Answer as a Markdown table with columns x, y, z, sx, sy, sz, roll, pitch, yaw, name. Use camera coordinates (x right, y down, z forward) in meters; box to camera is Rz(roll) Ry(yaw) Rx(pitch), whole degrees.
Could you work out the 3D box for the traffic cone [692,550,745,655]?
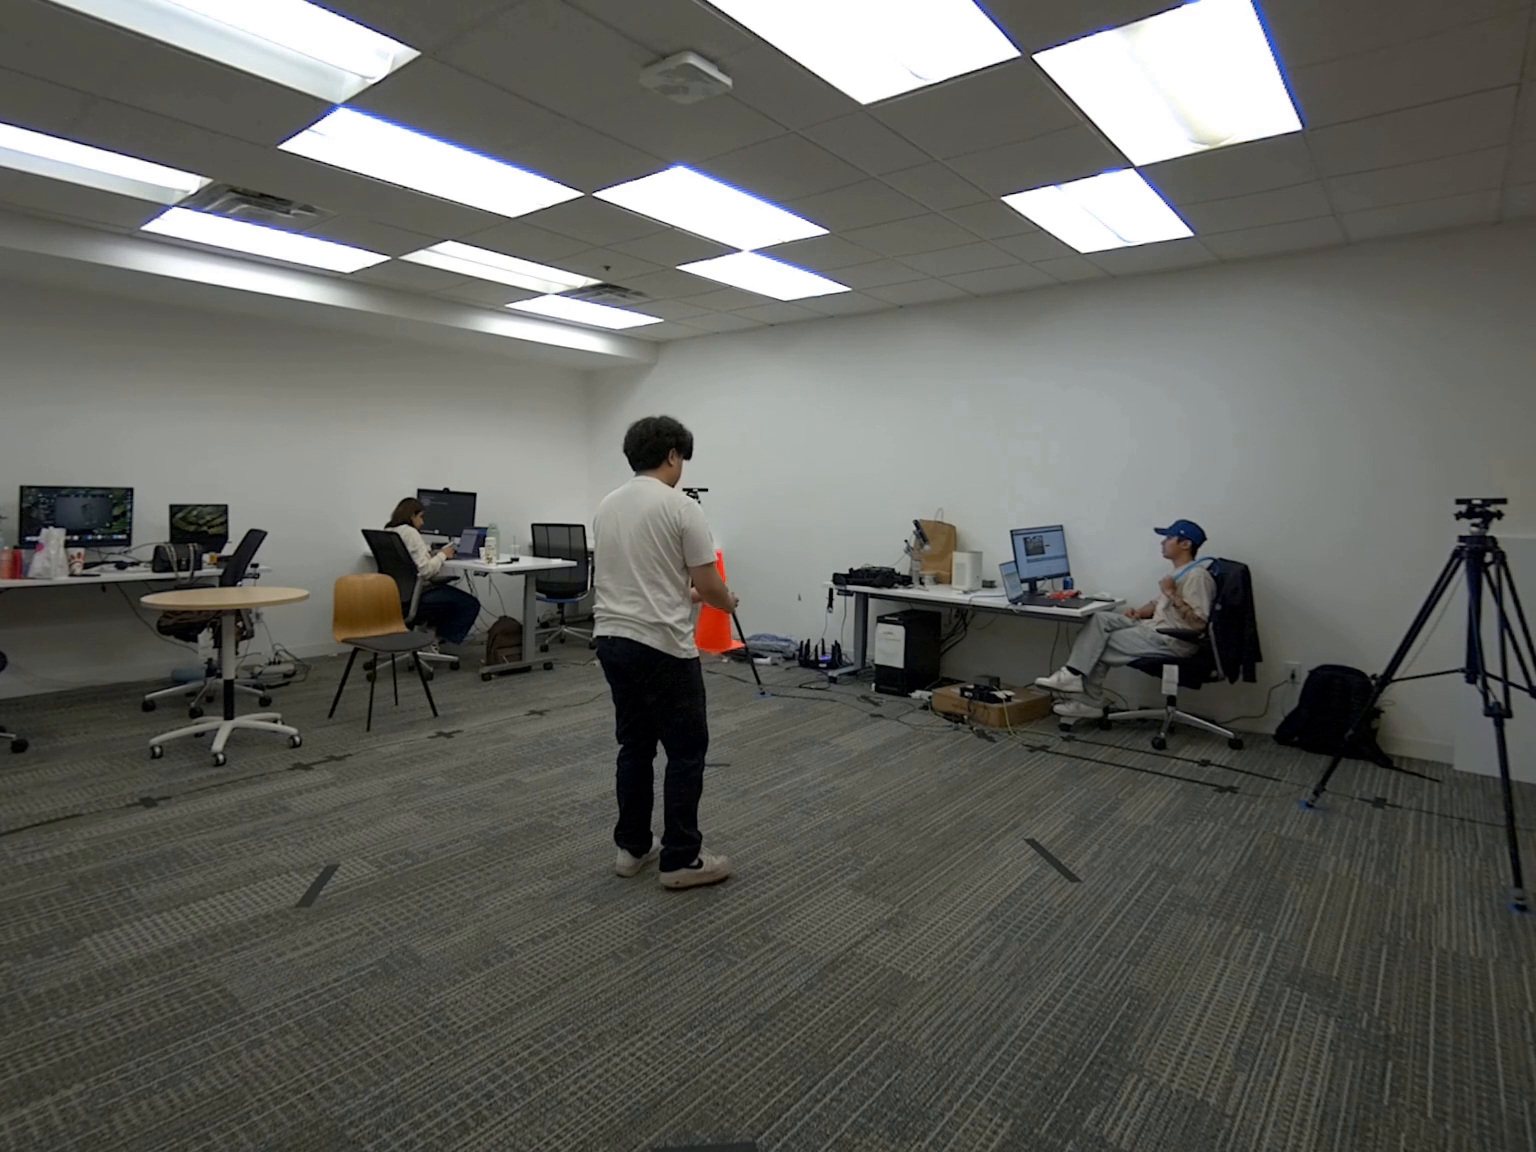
| x | y | z | sx | sy | sz | roll | pitch | yaw | name |
| --- | --- | --- | --- | --- | --- | --- | --- | --- | --- |
| -0.216 | 0.092 | 3.388 | 0.212 | 0.379 | 0.199 | 13 | 17 | 34 | traffic cone |
